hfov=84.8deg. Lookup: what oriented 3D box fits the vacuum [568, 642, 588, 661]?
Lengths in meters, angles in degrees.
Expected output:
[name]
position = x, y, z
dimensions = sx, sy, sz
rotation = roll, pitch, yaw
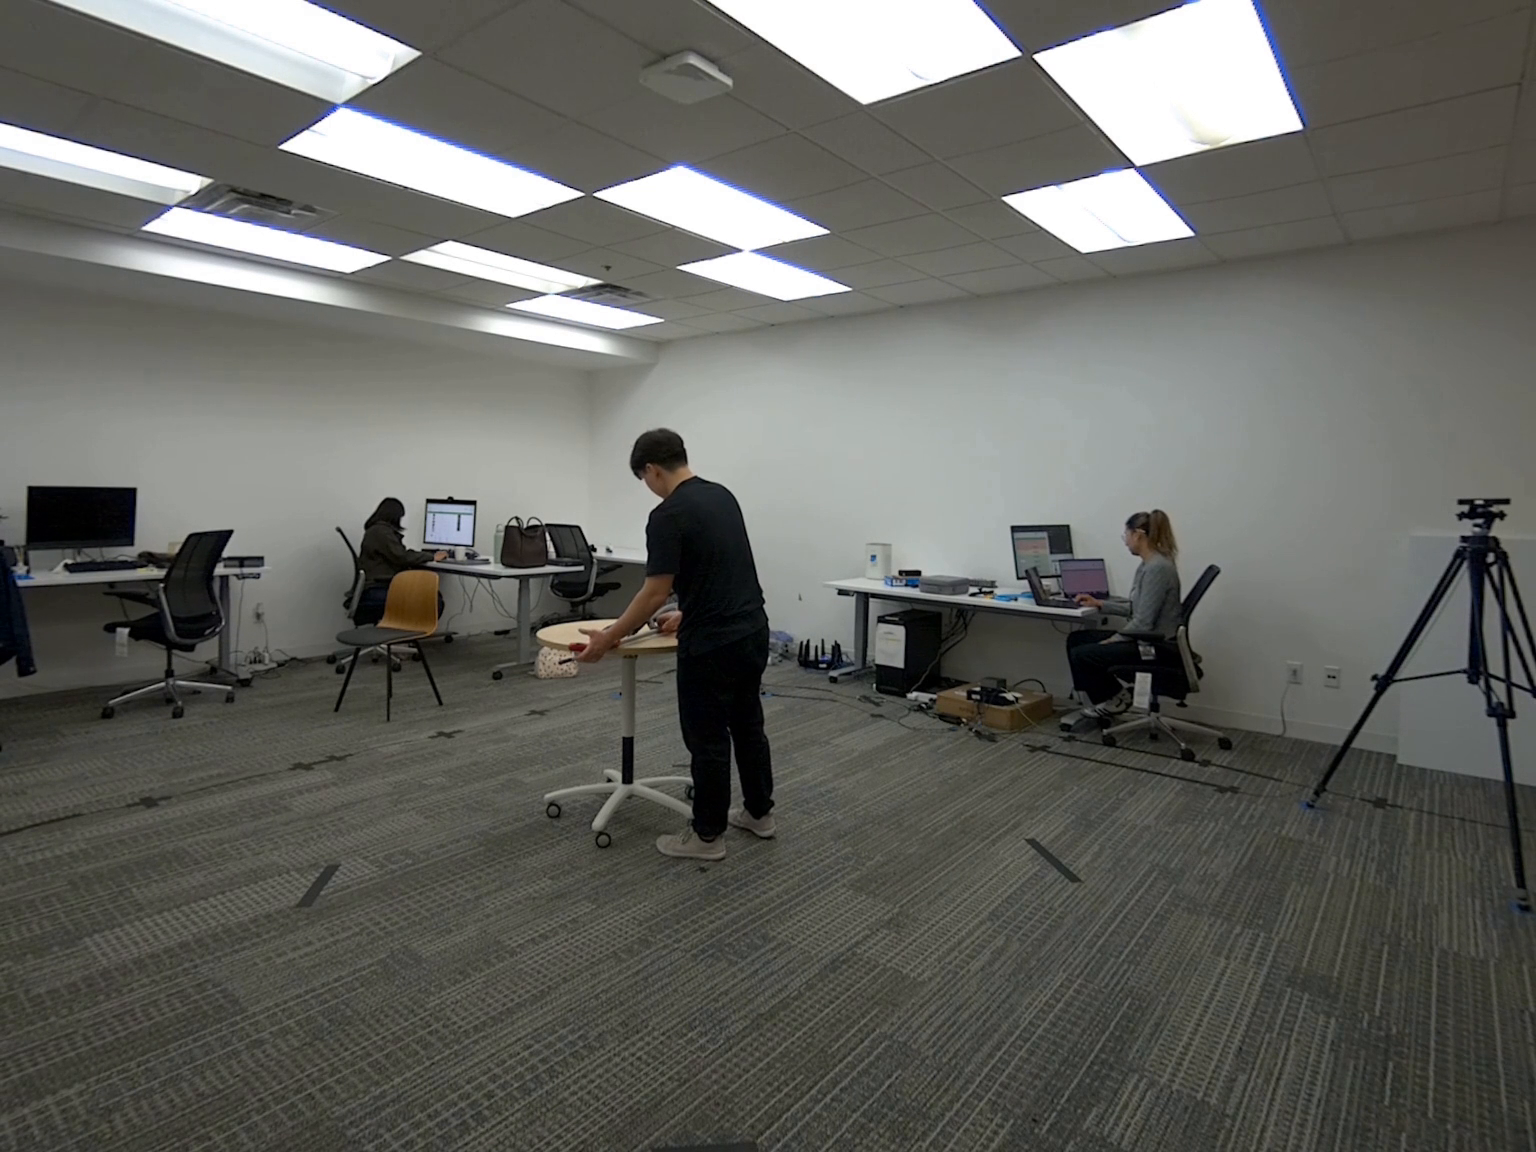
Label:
[vacuum]
position = -0.484, 0.211, 3.492
dimensions = 0.147, 0.251, 1.030
rotation = 33, 16, 15
